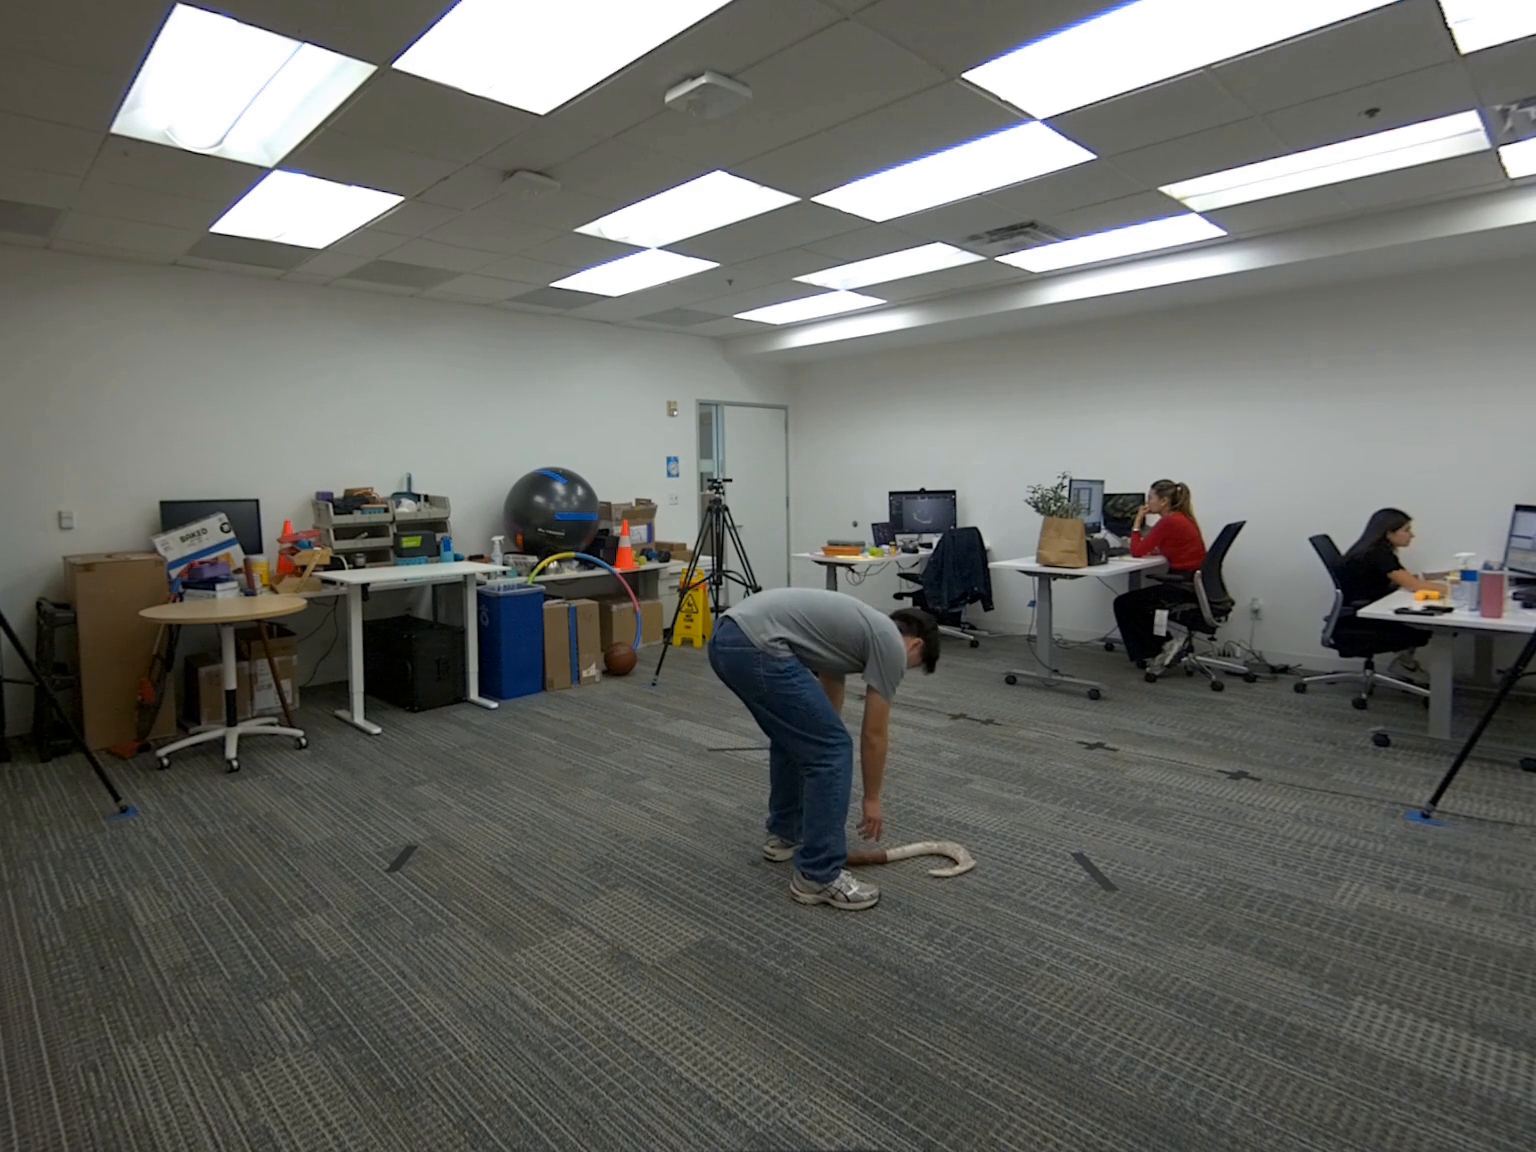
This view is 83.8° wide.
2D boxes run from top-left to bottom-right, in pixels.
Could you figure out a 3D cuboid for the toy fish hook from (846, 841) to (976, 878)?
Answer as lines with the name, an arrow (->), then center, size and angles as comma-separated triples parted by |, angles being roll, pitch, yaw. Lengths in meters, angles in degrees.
toy fish hook -> 0.484, 1.013, 3.053 | 0.502, 0.048, 0.227 | -3, 5, -9
